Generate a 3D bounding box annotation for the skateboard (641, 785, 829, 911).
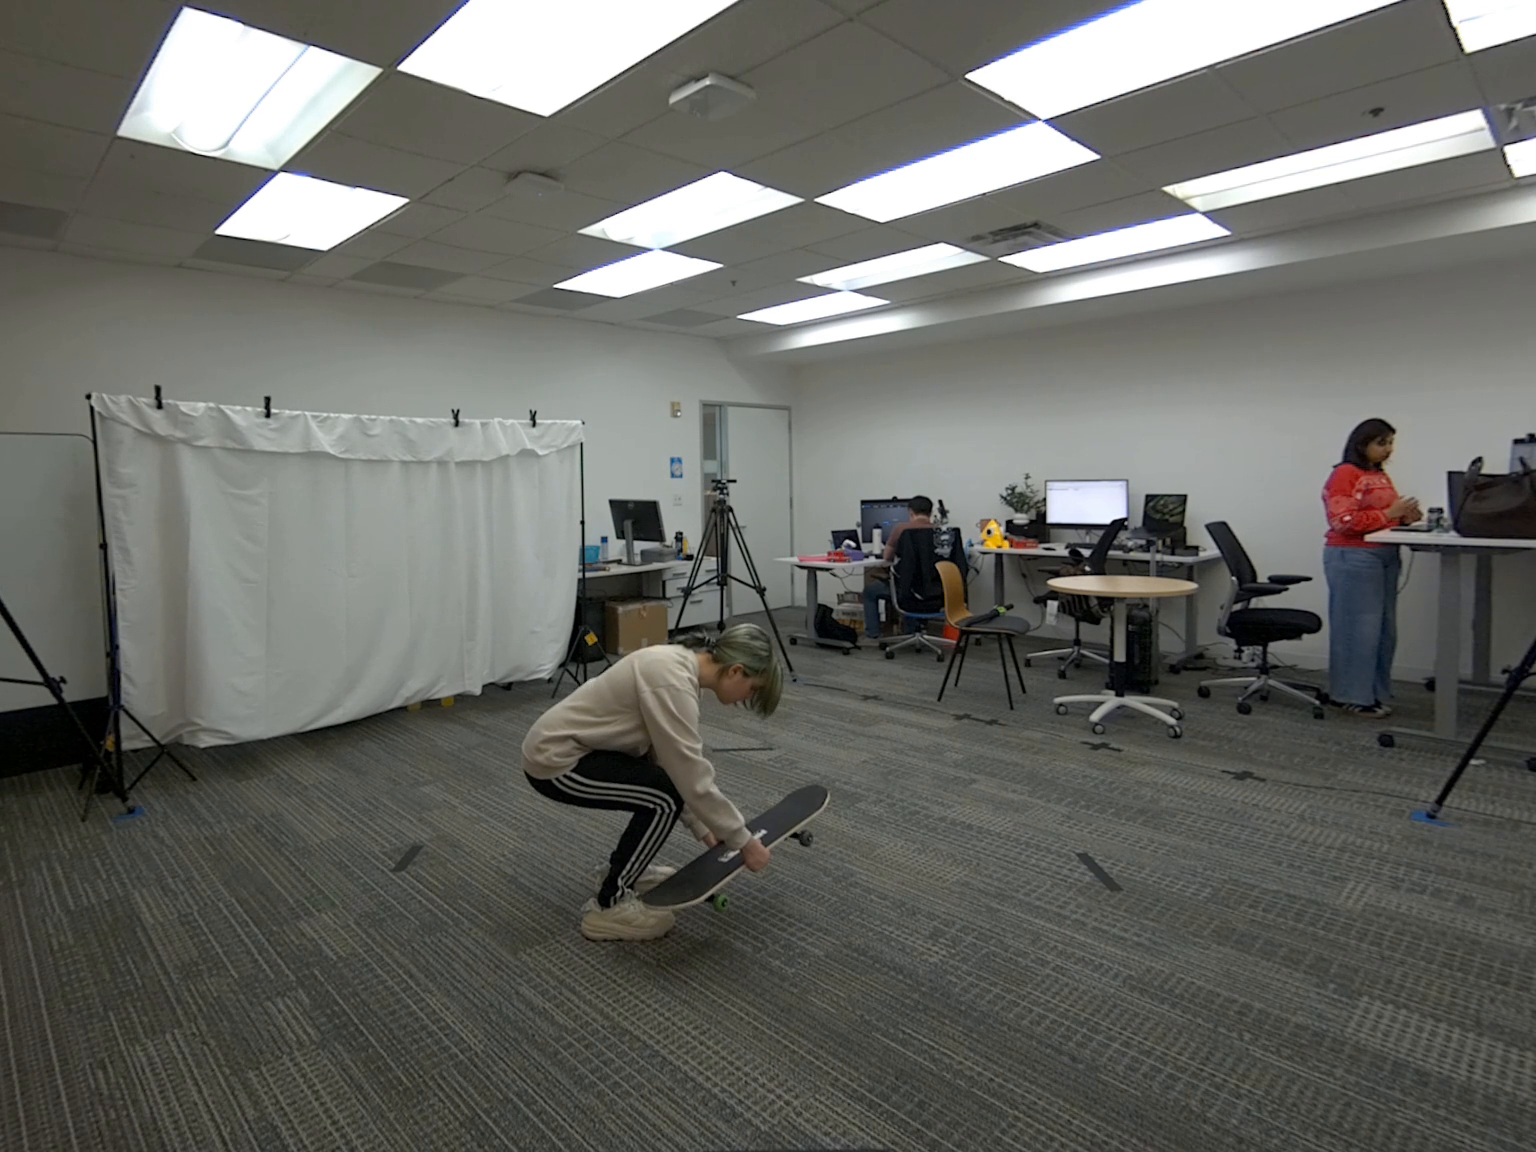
[{"bbox_3d":[-0.078,0.872,2.663,0.198,0.110,0.771,-8,10,45],"label":"skateboard"}]
